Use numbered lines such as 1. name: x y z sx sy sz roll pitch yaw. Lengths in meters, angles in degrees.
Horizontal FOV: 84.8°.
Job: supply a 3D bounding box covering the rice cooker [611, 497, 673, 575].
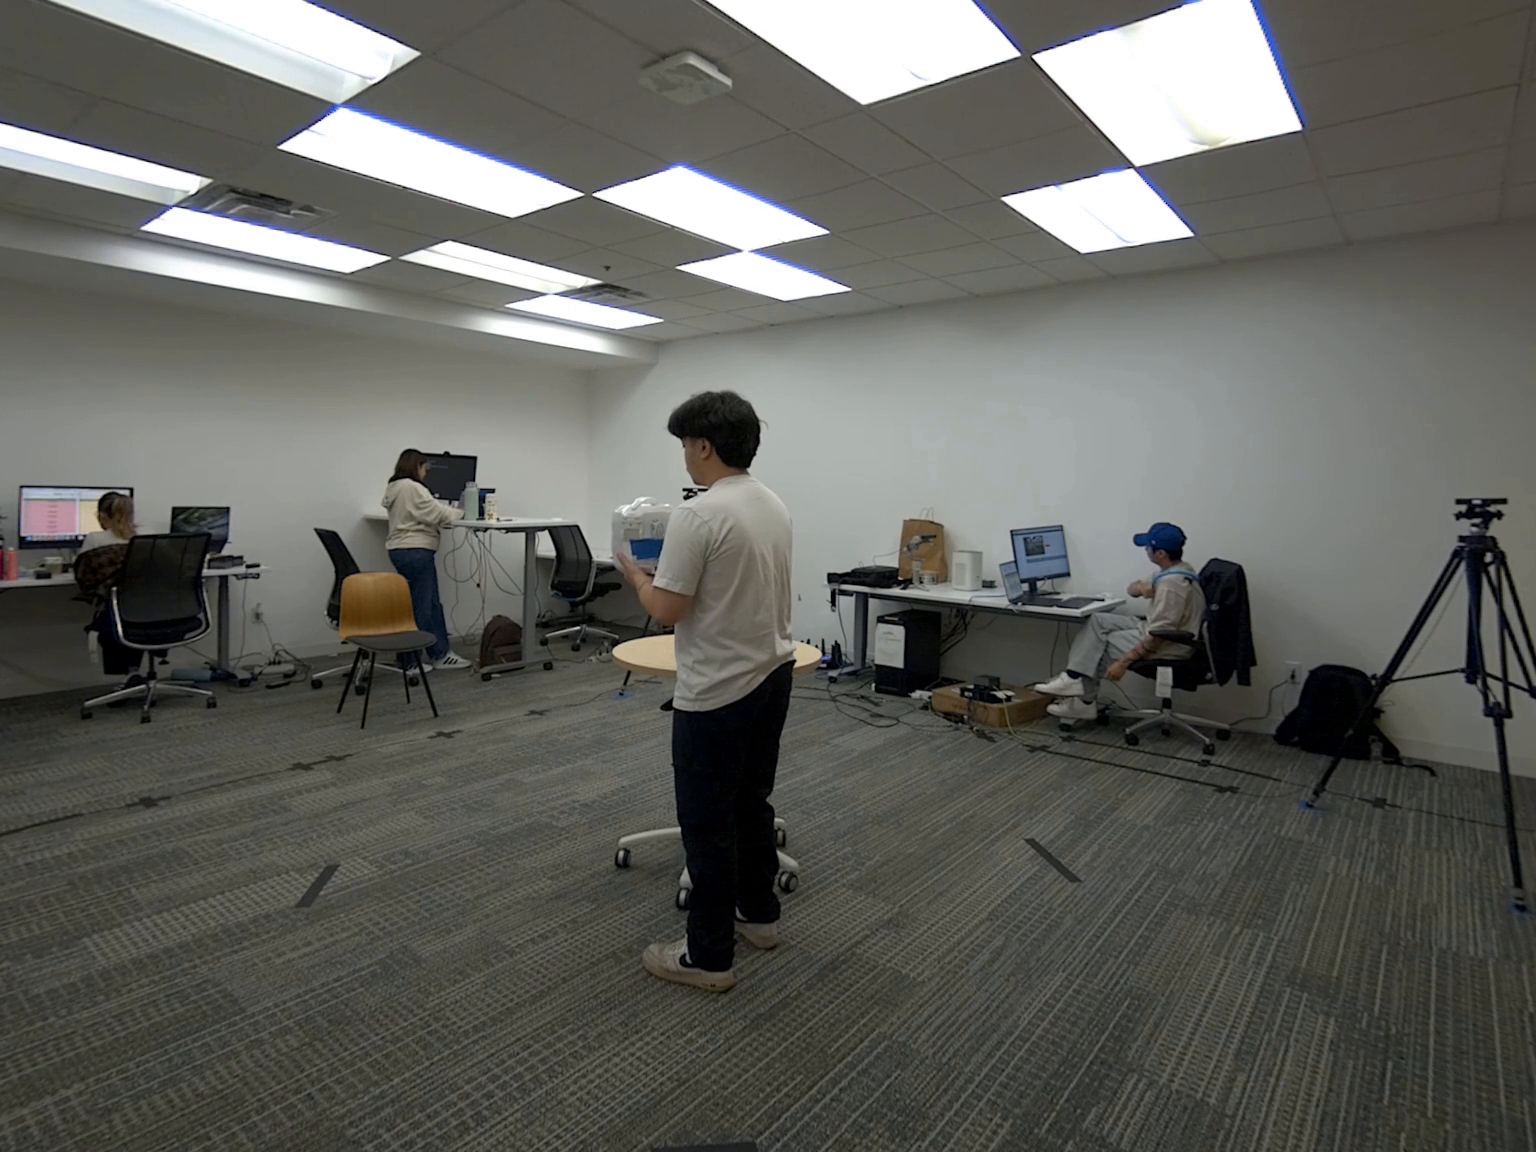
1. rice cooker: -0.392 -0.130 2.644 0.222 0.231 0.217 3 6 18
